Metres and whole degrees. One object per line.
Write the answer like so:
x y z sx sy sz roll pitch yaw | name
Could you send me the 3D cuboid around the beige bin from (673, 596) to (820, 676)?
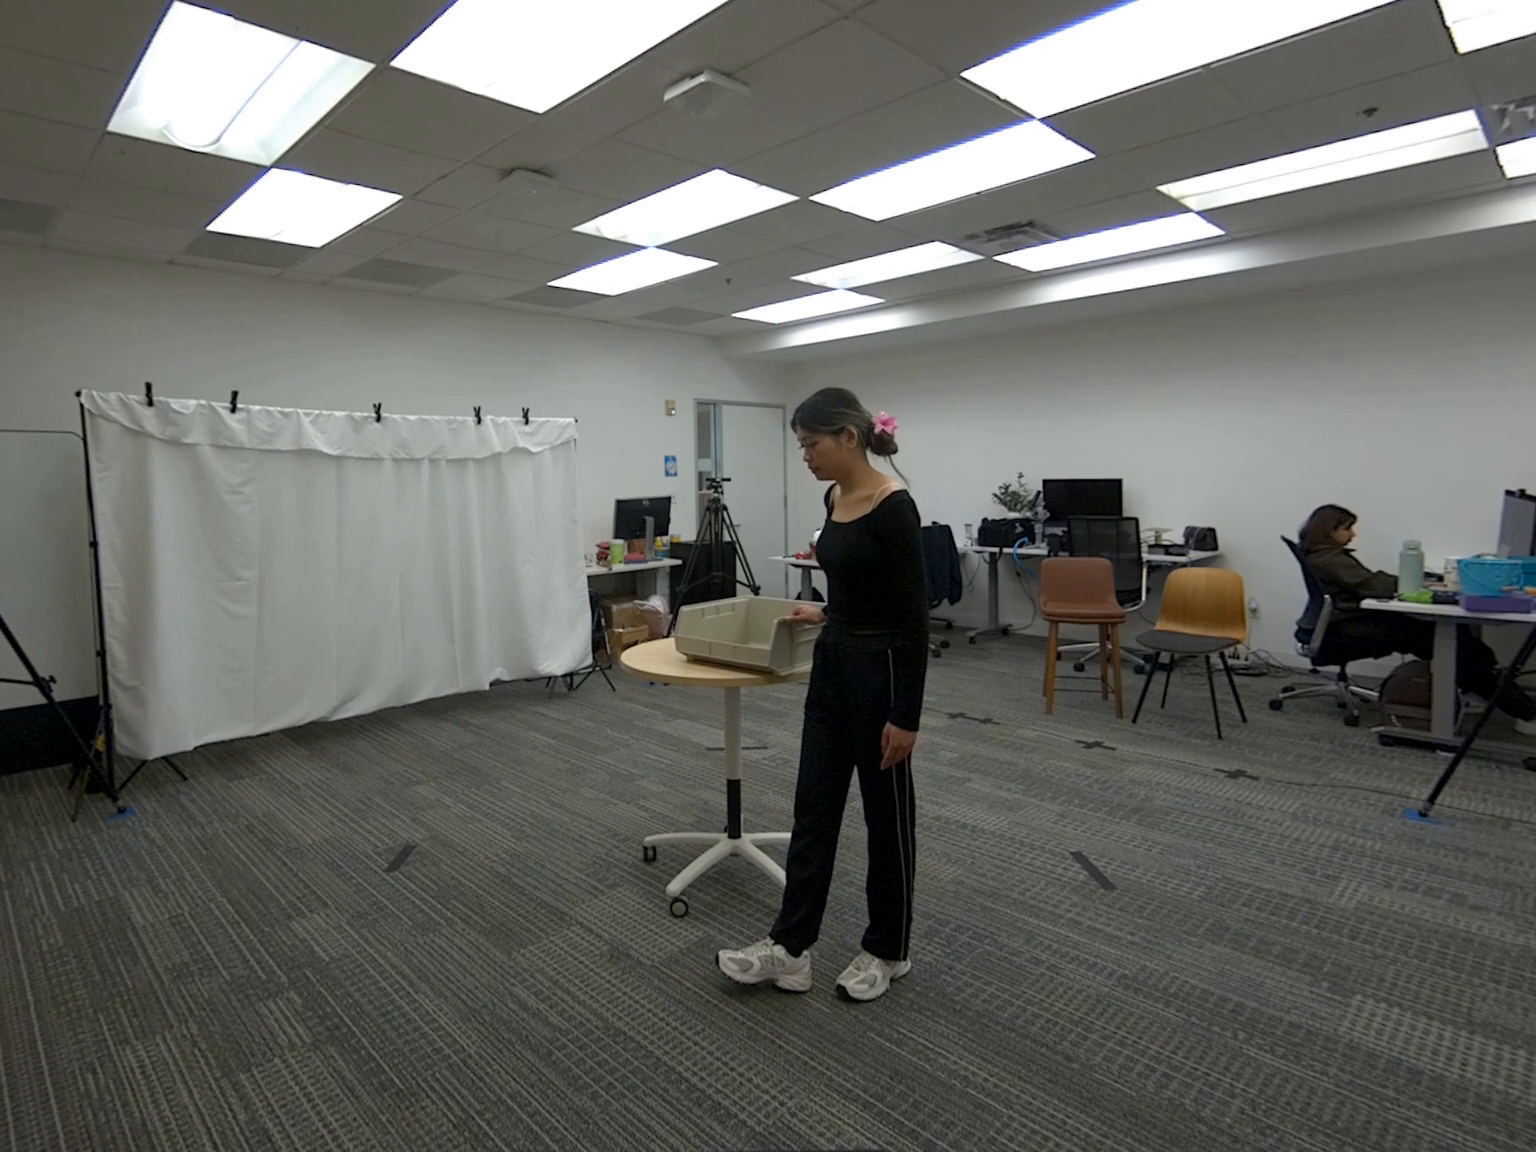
-0.032 0.189 2.821 0.435 0.188 0.367 3 5 41 | beige bin
